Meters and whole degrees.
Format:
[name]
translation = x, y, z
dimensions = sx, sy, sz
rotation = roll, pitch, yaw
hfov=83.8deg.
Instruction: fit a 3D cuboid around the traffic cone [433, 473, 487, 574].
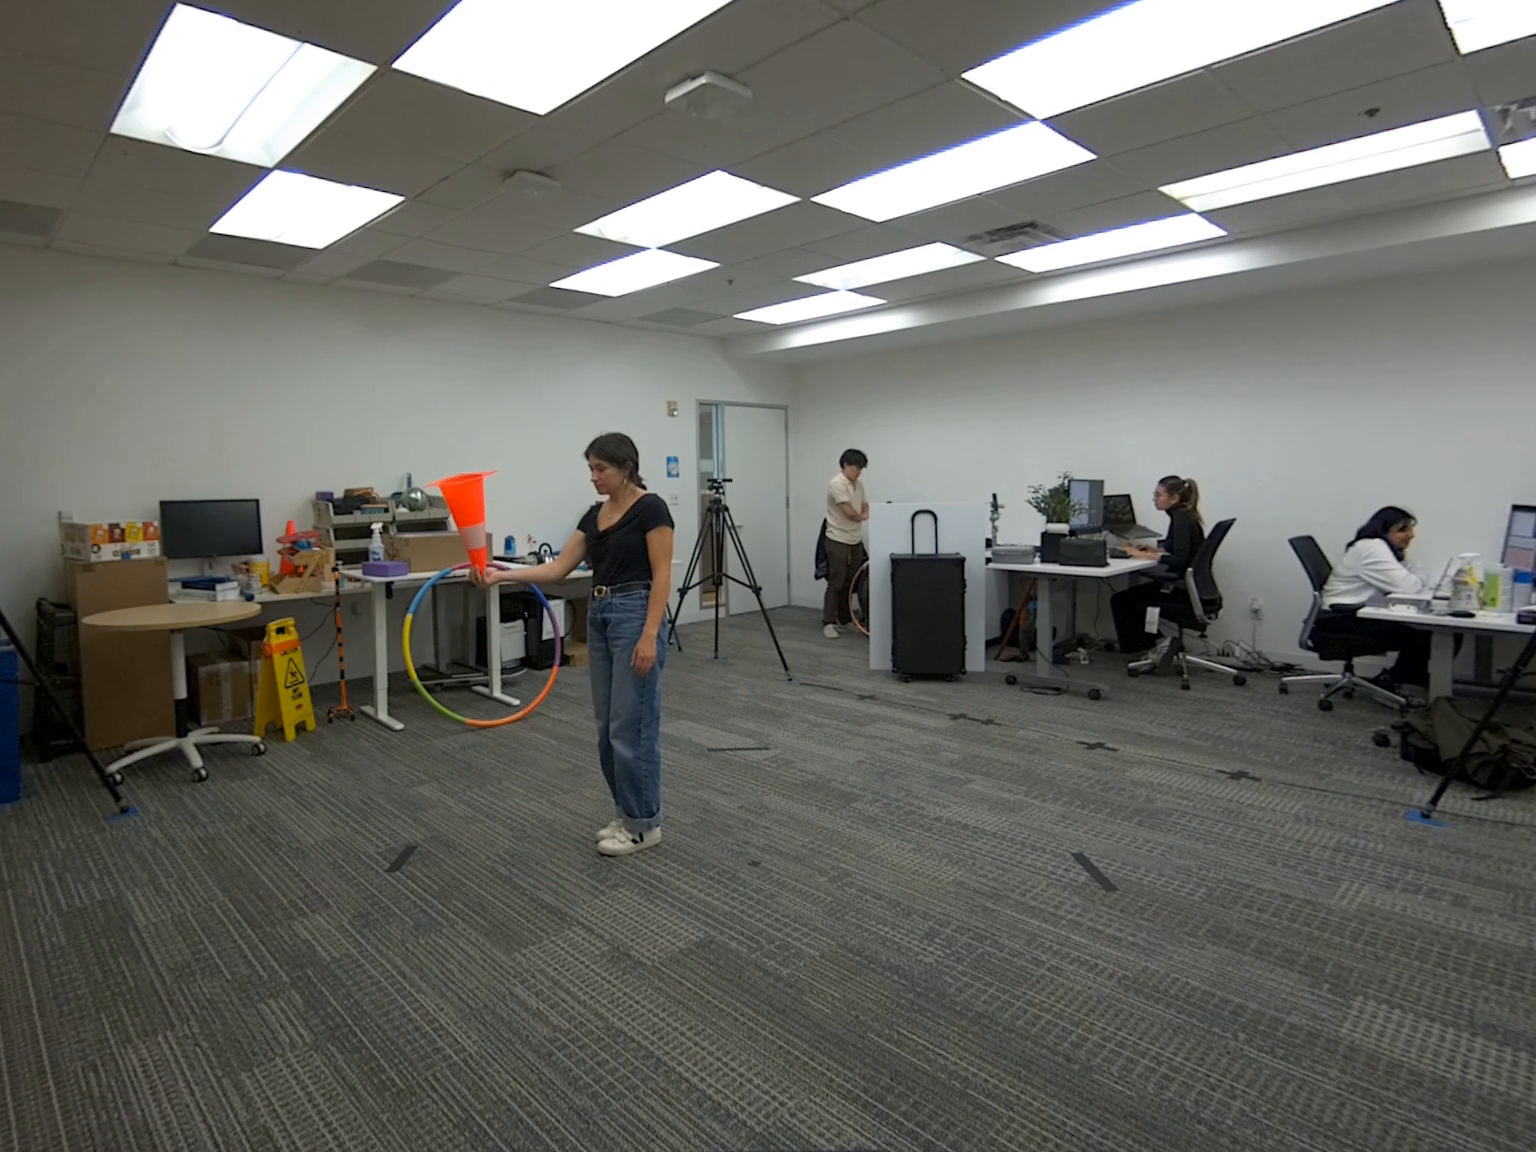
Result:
[traffic cone]
translation = -1.069, -0.167, 3.099
dimensions = 0.209, 0.378, 0.202
rotation = -5, 16, 23
